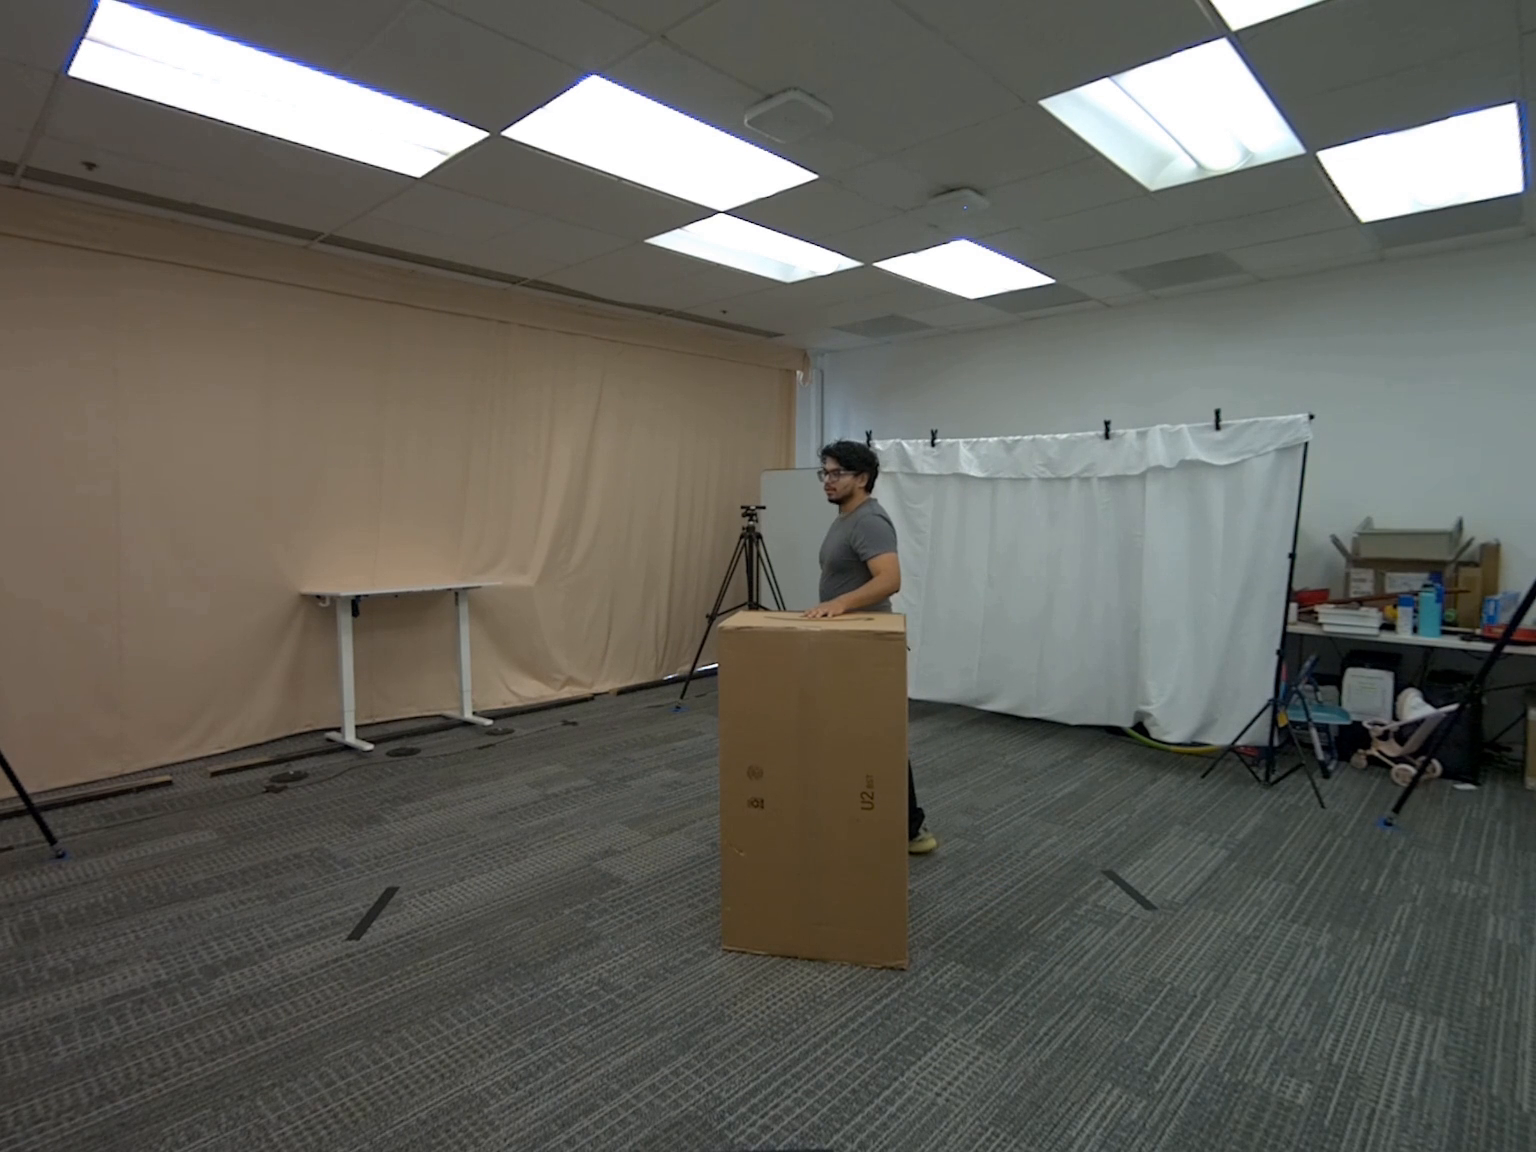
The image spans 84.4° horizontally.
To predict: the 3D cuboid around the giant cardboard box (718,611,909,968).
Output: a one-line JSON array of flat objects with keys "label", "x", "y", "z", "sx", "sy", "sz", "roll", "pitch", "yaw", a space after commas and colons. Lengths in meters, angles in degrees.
[{"label": "giant cardboard box", "x": 0.161, "y": 0.648, "z": 2.765, "sx": 0.585, "sy": 1.024, "sz": 0.422, "roll": 0, "pitch": 3, "yaw": 11}]
